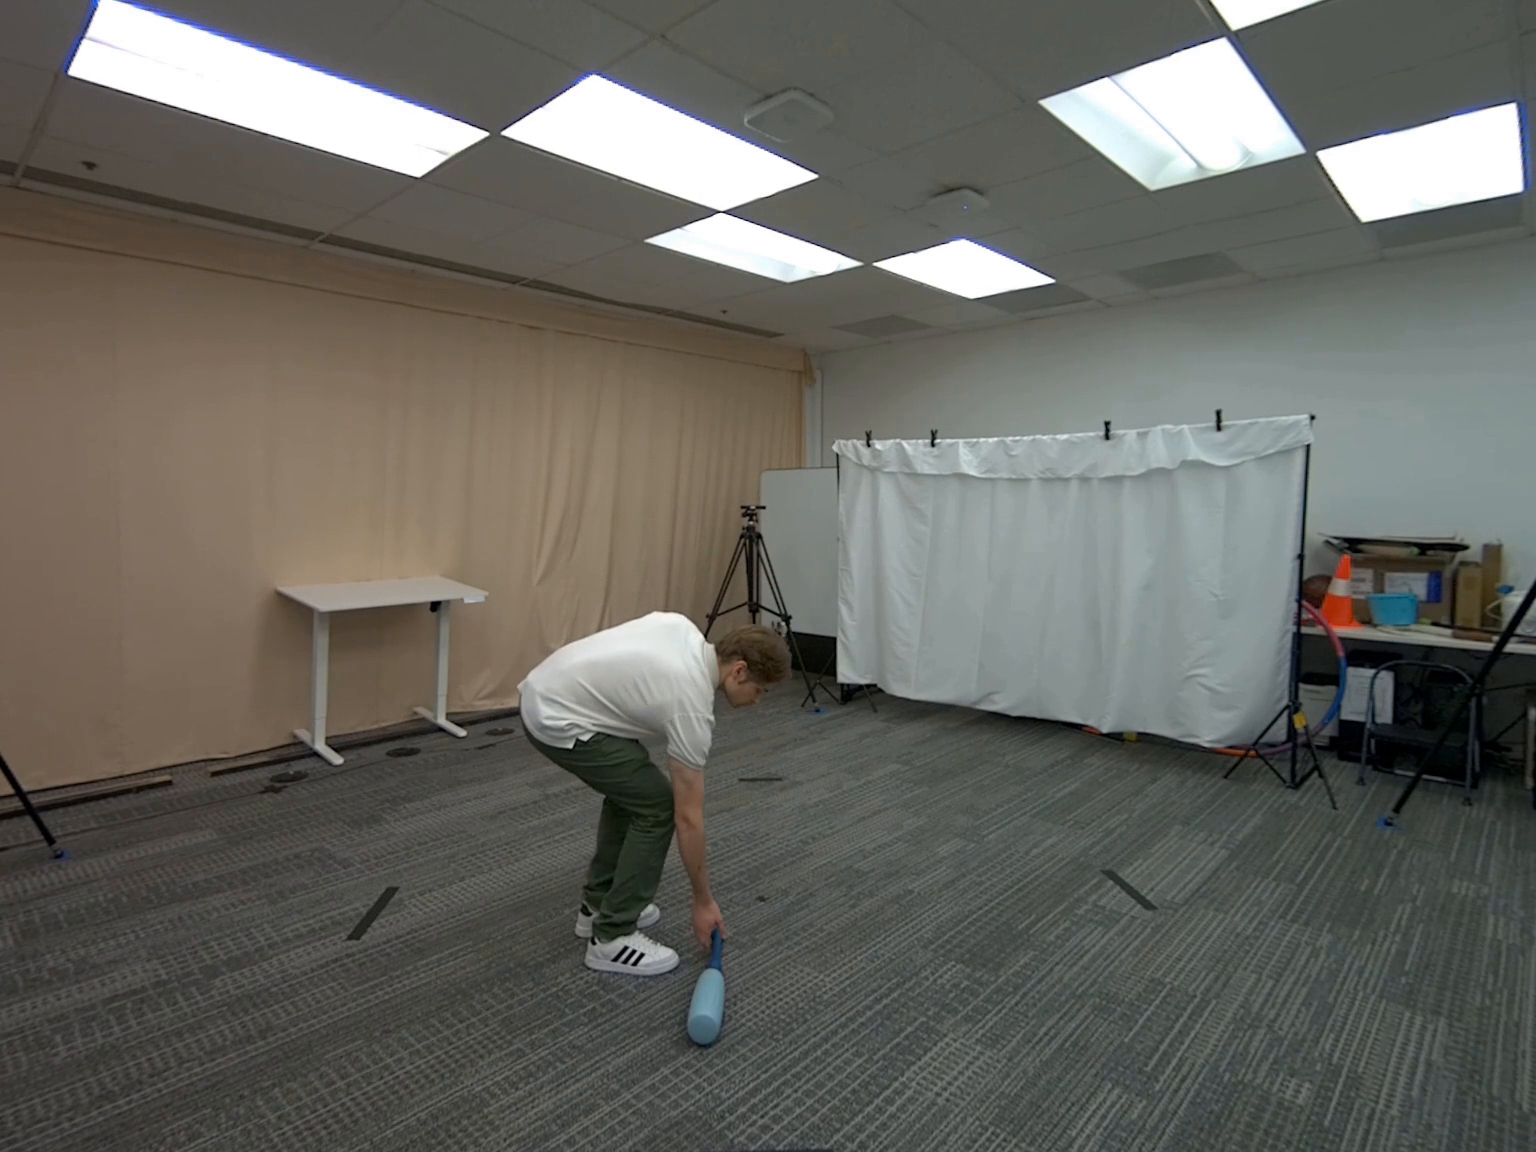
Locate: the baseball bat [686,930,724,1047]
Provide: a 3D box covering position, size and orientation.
[{"bbox_3d":[-0.156,1.152,2.424,0.089,0.089,0.541,0,2,2],"label":"baseball bat"}]
